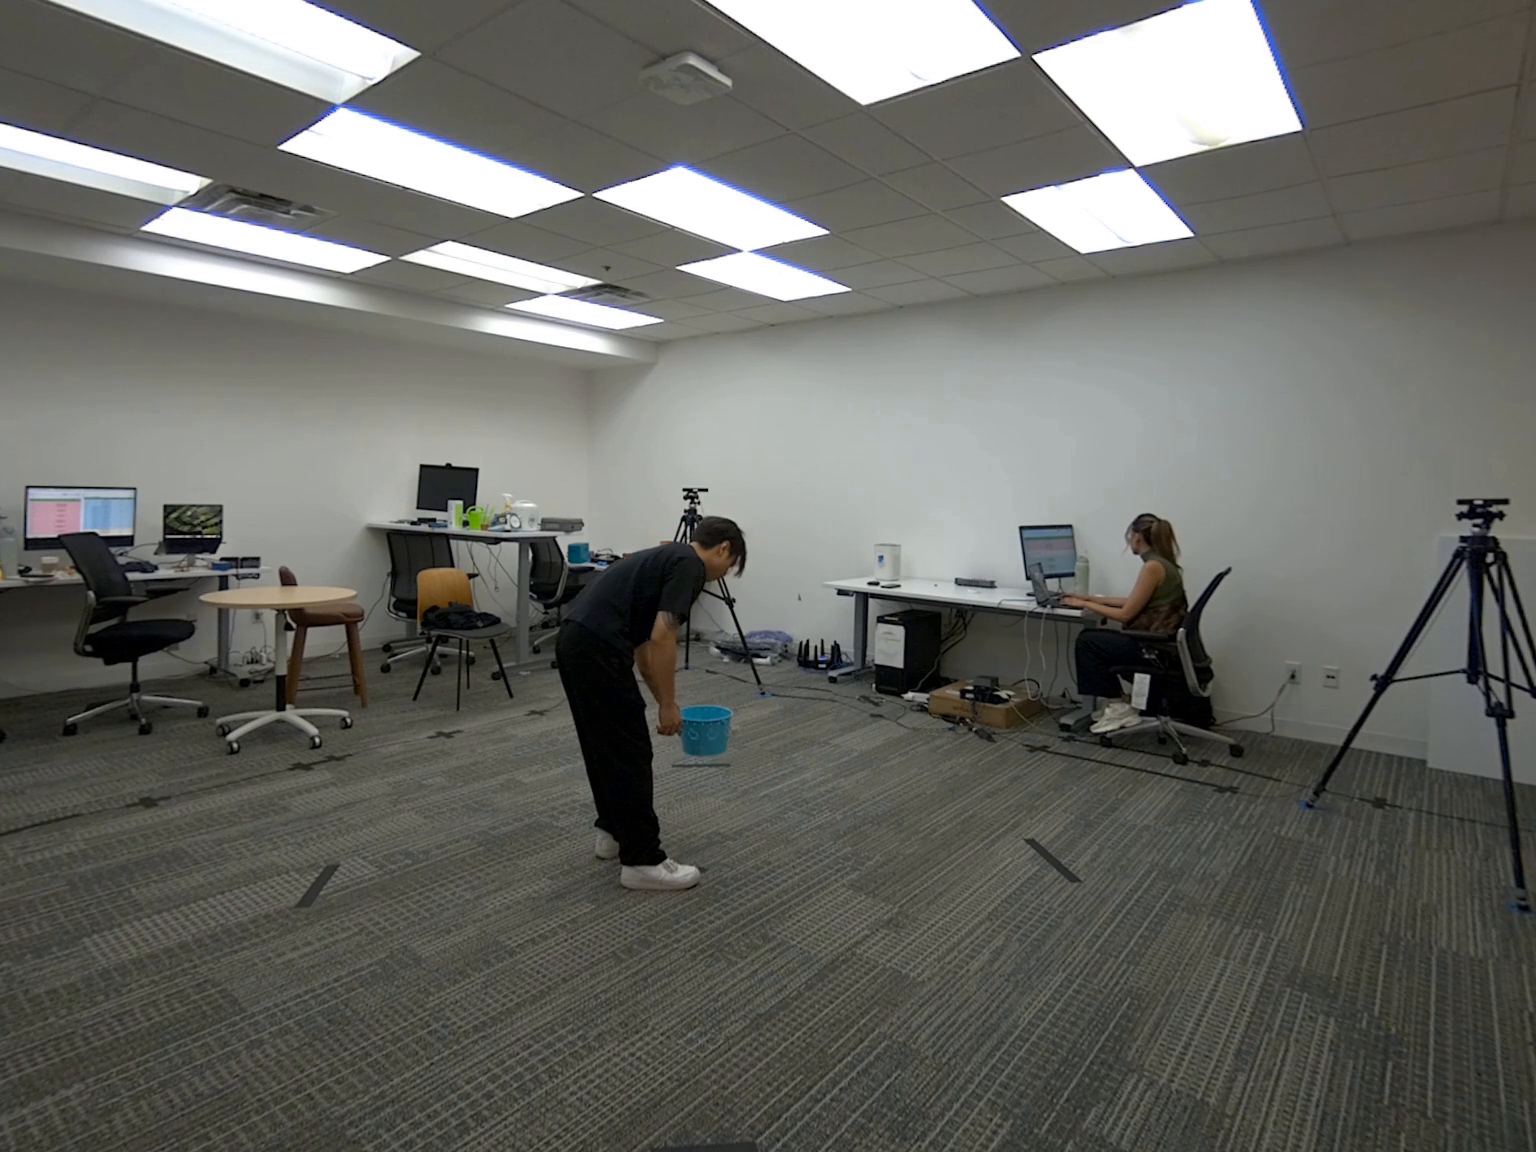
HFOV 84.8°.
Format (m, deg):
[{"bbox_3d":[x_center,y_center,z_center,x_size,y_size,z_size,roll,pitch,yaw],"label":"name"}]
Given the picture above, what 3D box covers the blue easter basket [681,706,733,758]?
[{"bbox_3d":[-0.265,0.629,3.475,0.243,0.155,0.245,1,6,-2],"label":"blue easter basket"}]
